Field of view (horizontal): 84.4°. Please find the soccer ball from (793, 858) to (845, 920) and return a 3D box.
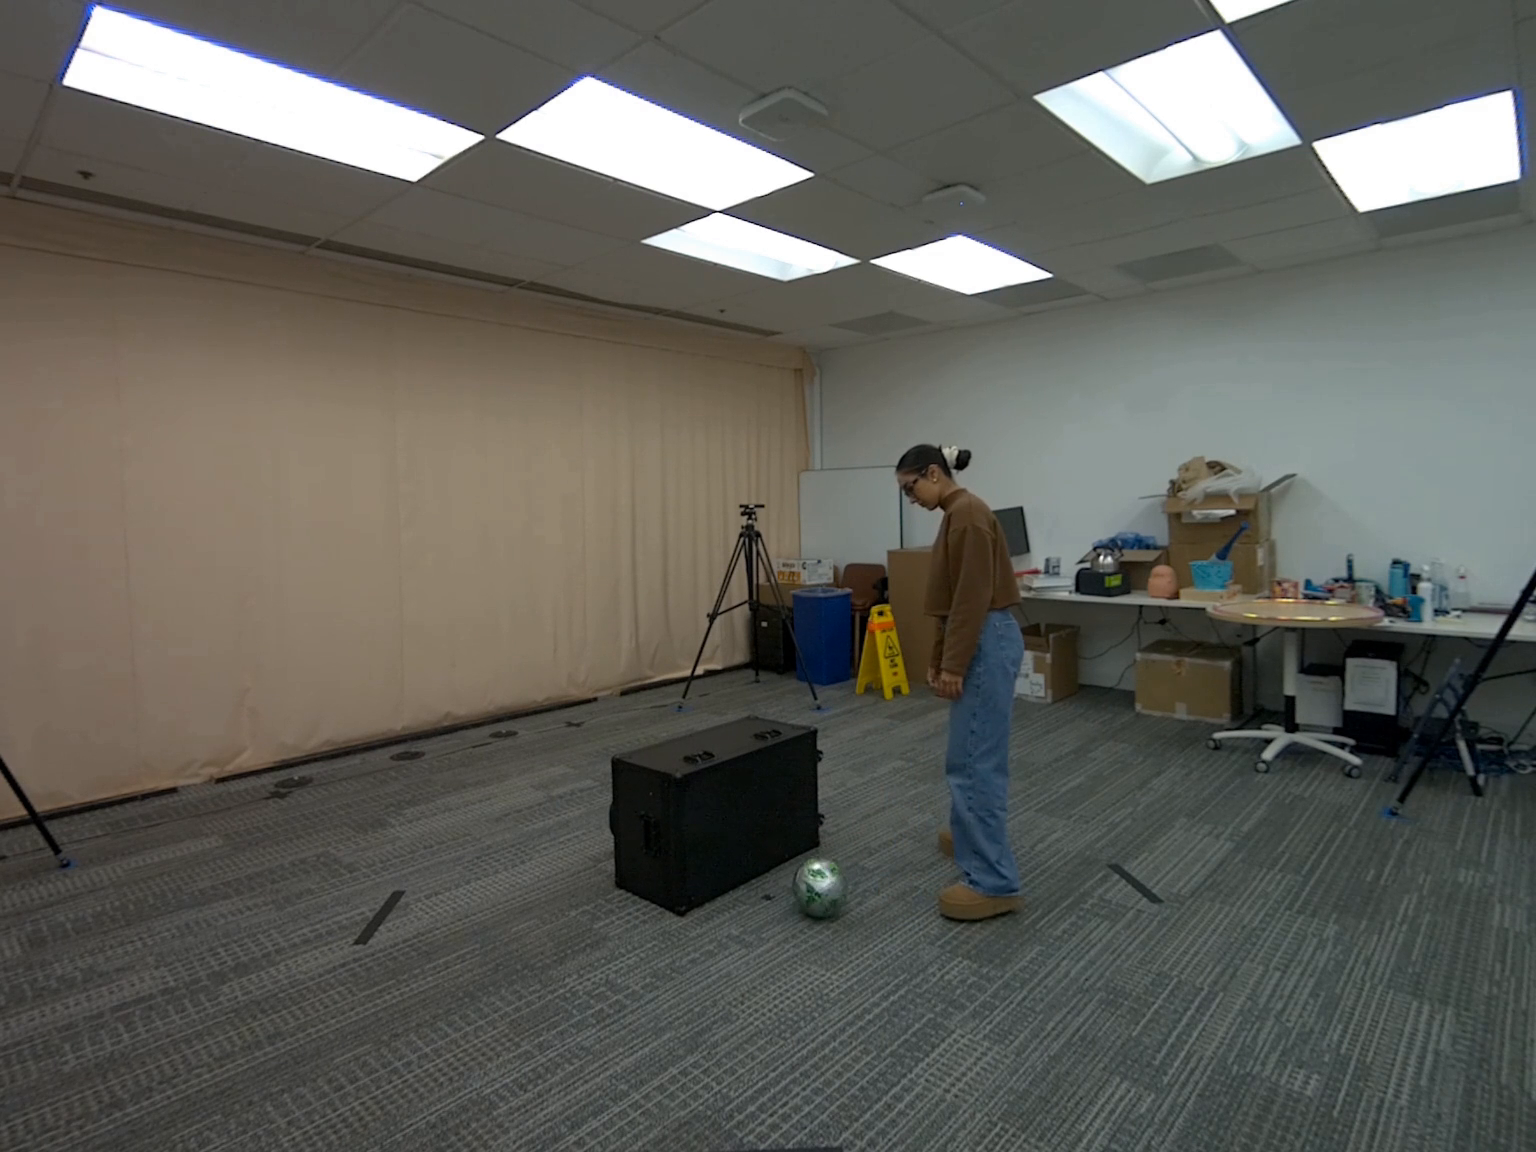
[{"bbox_3d":[0.178,1.052,2.856,0.187,0.187,0.188,-1,4,-2],"label":"soccer ball"}]
